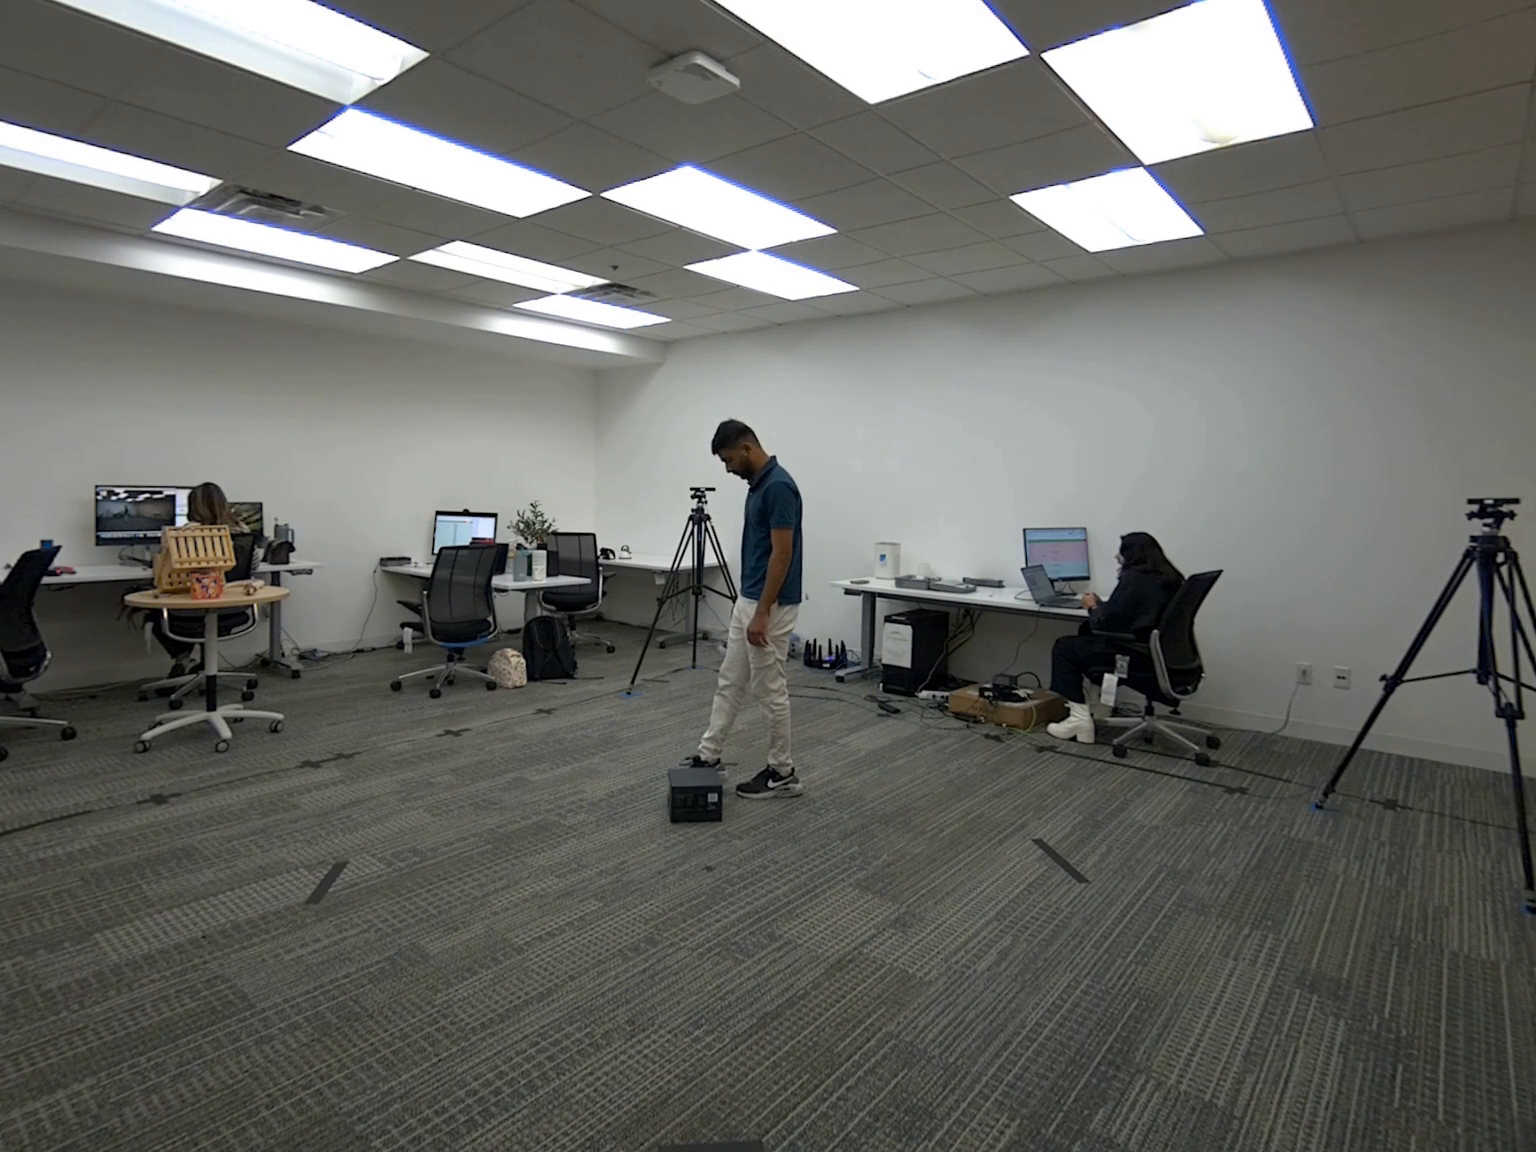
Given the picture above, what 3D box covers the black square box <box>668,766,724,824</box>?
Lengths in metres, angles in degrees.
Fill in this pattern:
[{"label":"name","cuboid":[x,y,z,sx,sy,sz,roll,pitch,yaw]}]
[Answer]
[{"label":"black square box","cuboid":[-0.328,0.928,3.655,0.215,0.155,0.231,-1,5,-10]}]
